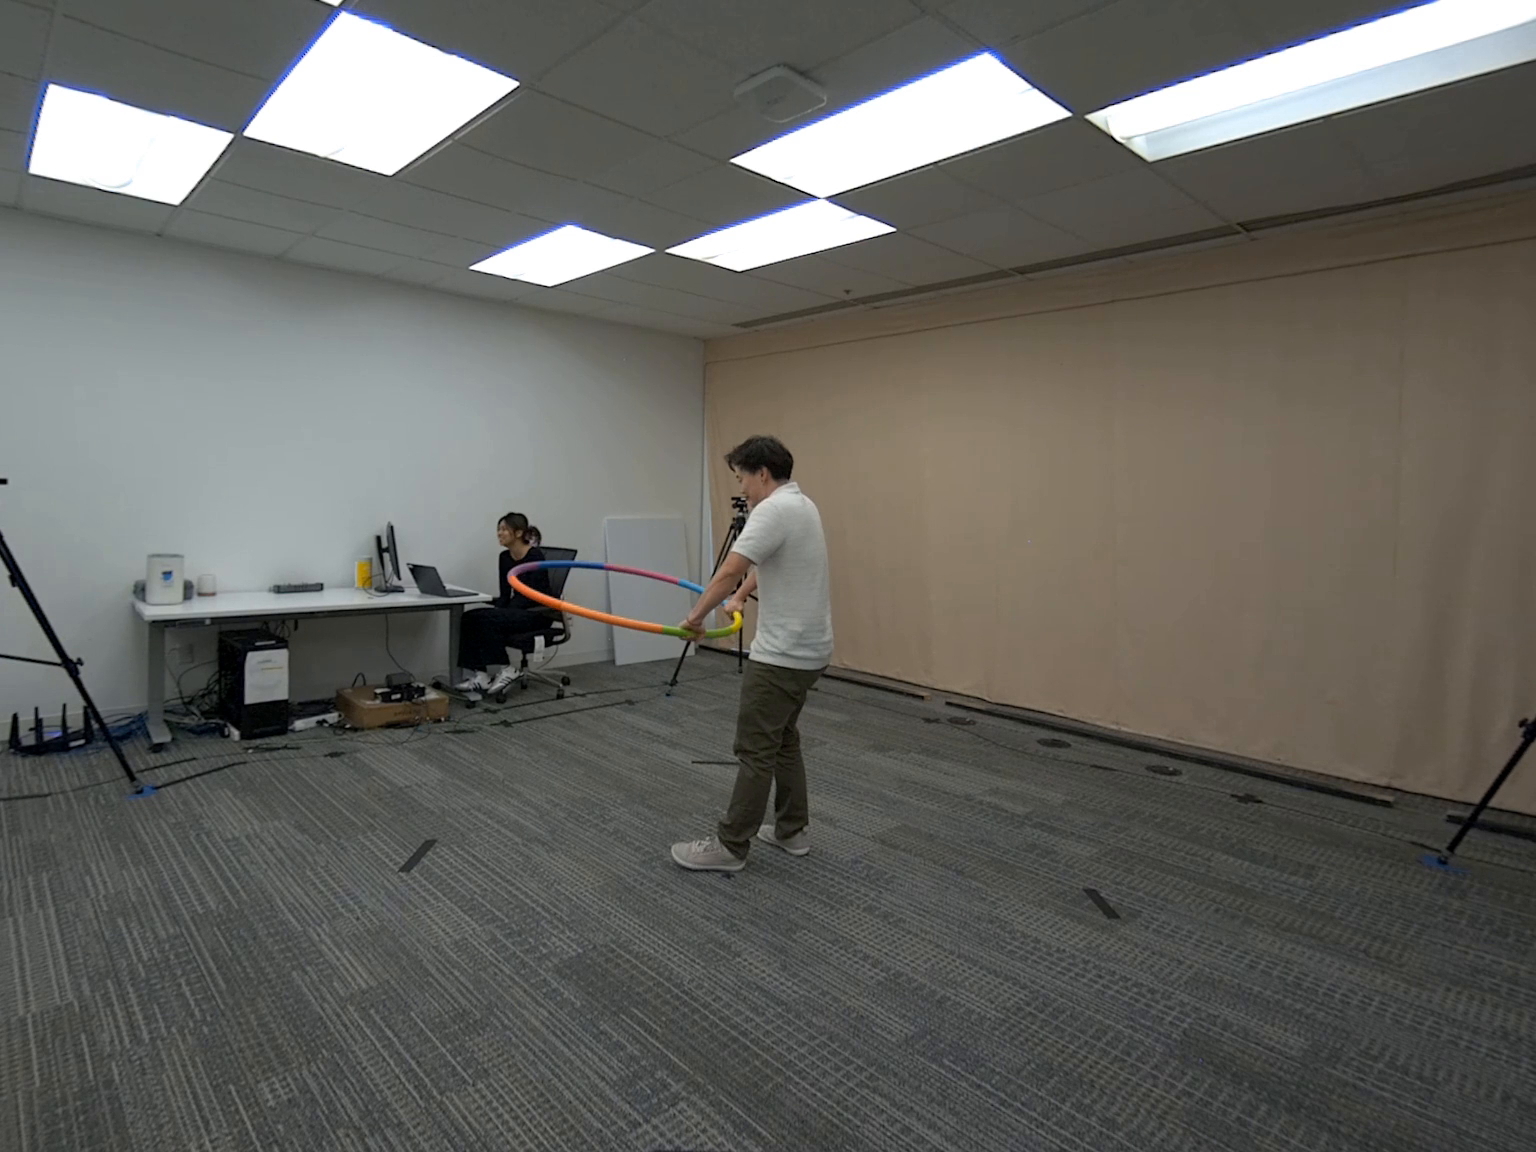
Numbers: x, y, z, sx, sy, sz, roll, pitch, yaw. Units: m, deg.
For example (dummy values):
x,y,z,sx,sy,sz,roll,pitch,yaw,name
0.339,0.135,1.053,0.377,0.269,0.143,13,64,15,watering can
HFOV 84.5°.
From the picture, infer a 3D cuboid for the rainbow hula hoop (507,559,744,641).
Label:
x,y,z,sx,sy,sz,roll,pitch,yaw,name
-0.592,0.074,3.497,0.976,0.035,0.986,12,10,-3,rainbow hula hoop
